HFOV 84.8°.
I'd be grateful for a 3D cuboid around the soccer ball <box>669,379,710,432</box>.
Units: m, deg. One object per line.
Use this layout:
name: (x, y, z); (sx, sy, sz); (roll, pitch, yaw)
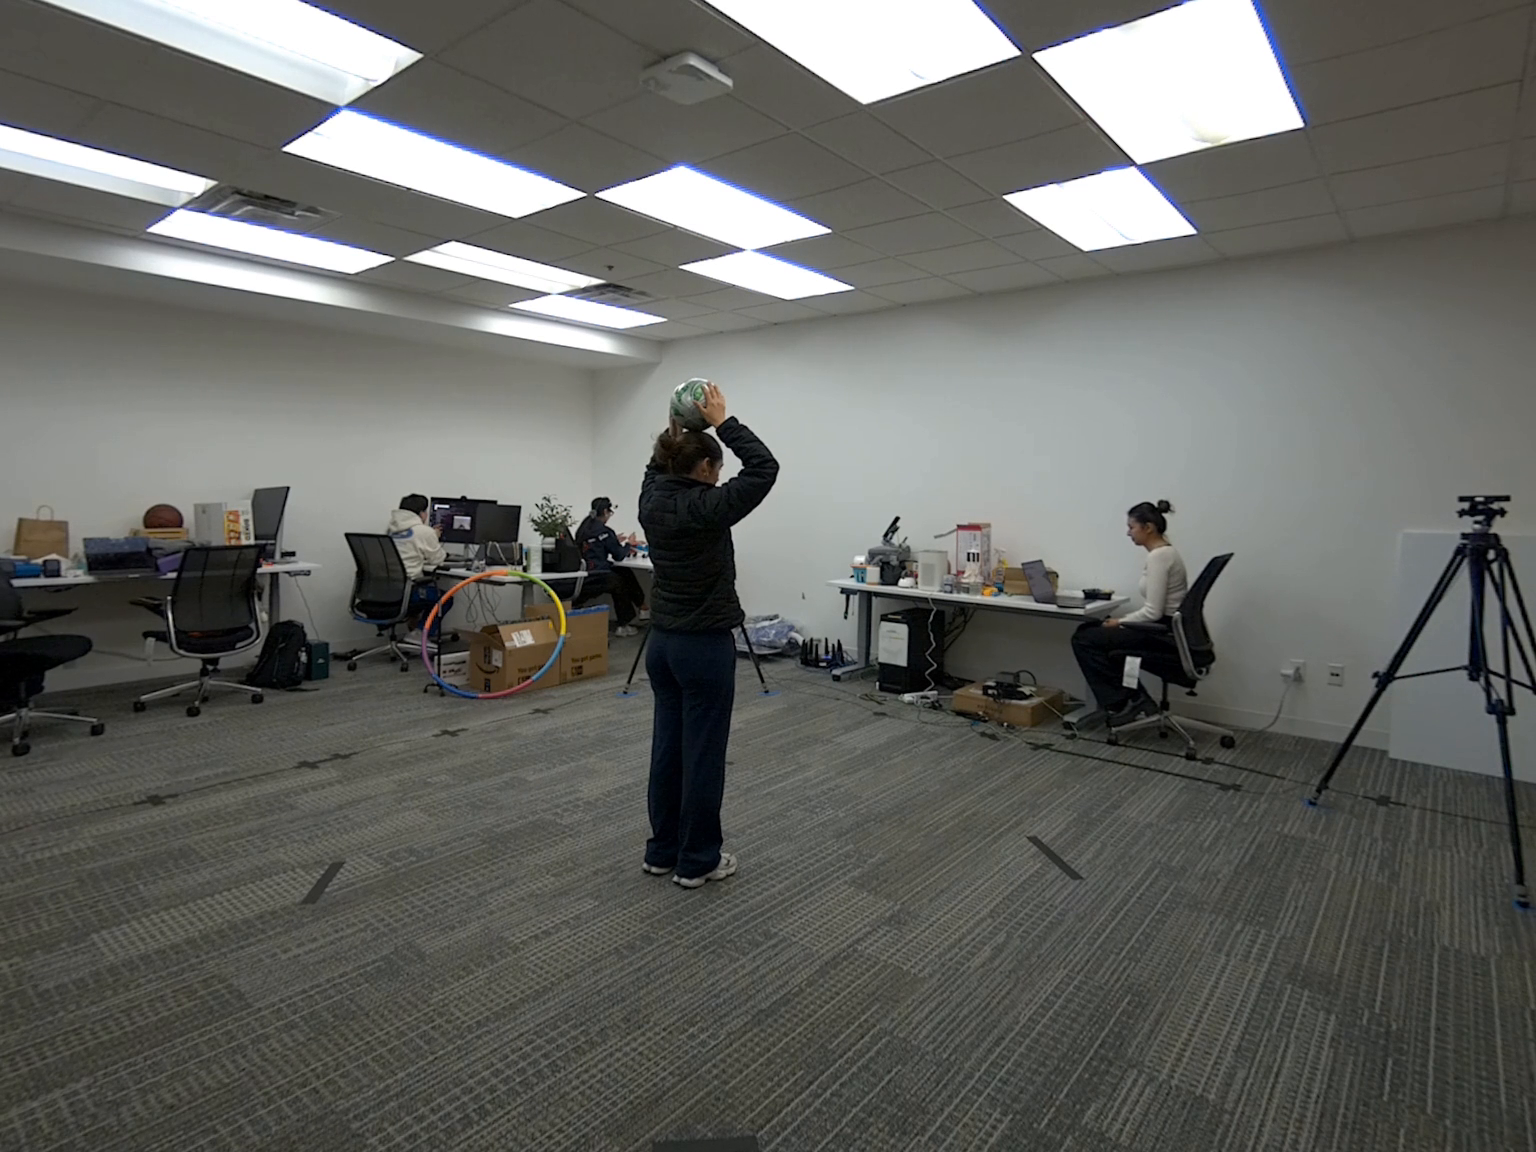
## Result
soccer ball: (-0.263, -0.611, 3.034); (0.187, 0.187, 0.188); (1, 4, -2)
